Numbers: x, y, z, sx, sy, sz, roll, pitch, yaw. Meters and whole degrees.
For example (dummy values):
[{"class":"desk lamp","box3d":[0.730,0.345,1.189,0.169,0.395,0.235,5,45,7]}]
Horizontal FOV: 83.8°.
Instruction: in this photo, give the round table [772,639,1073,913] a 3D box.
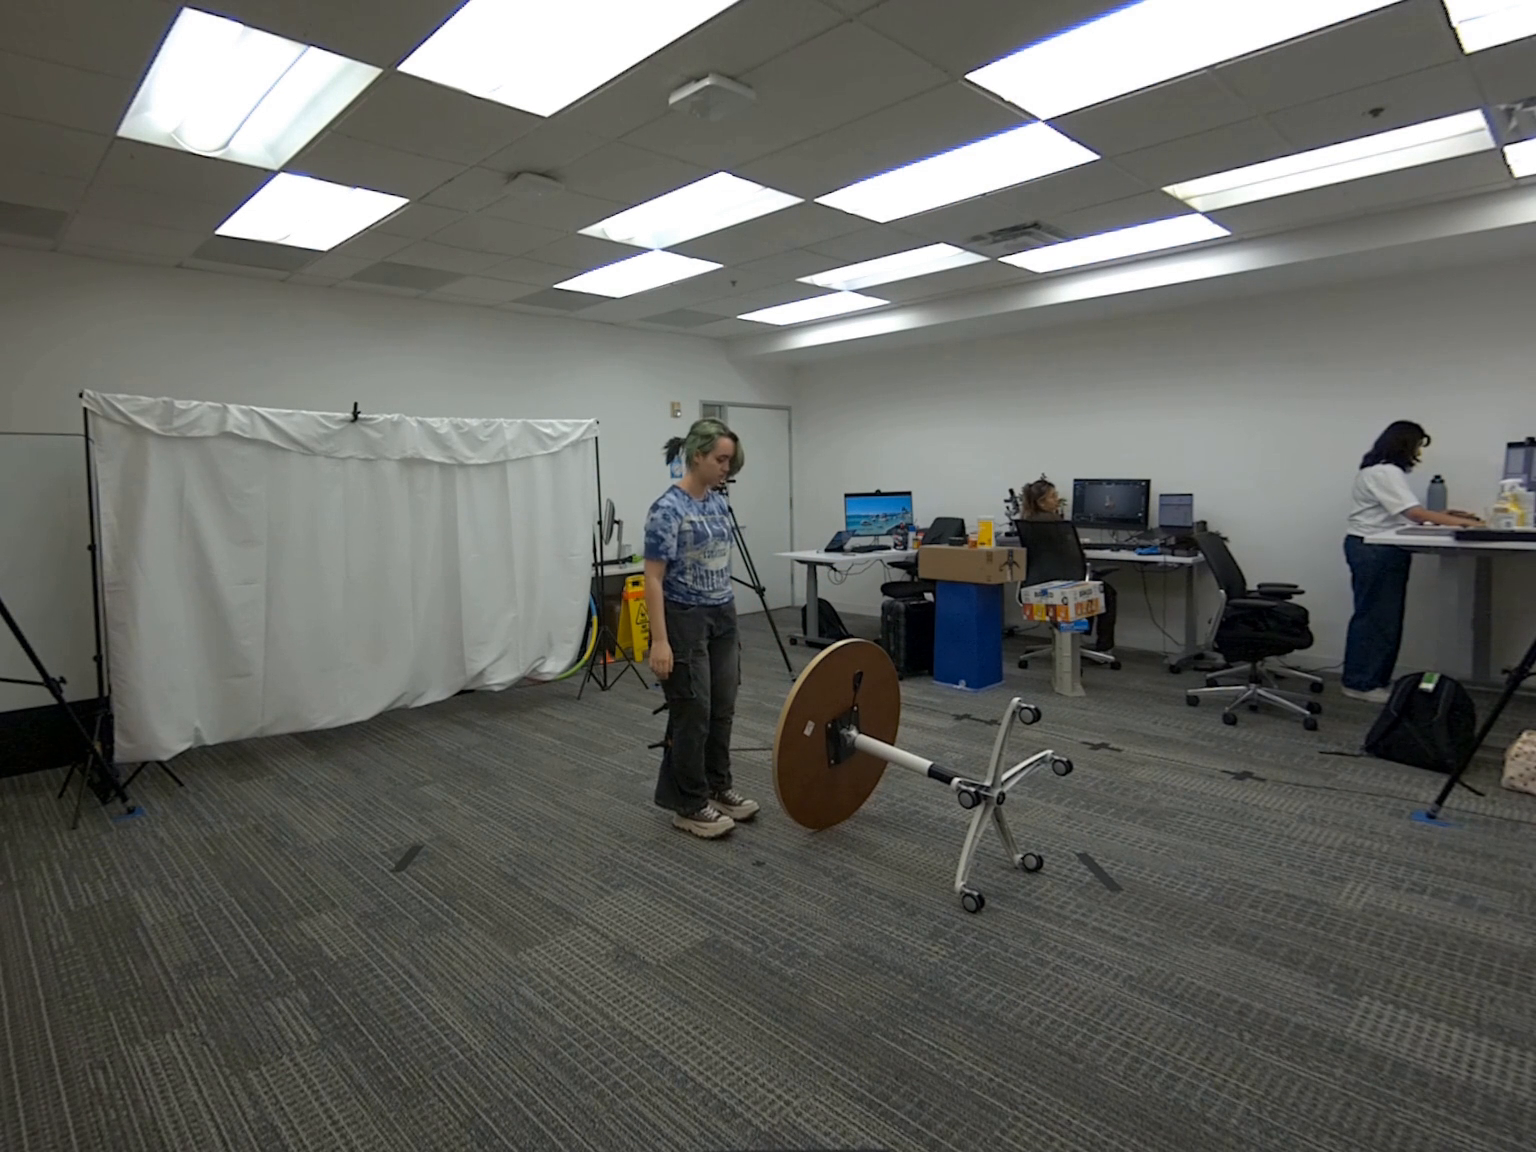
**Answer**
[{"class":"round table","box3d":[0.566,0.700,3.116,0.744,0.758,0.821,-5,13,-44]}]
